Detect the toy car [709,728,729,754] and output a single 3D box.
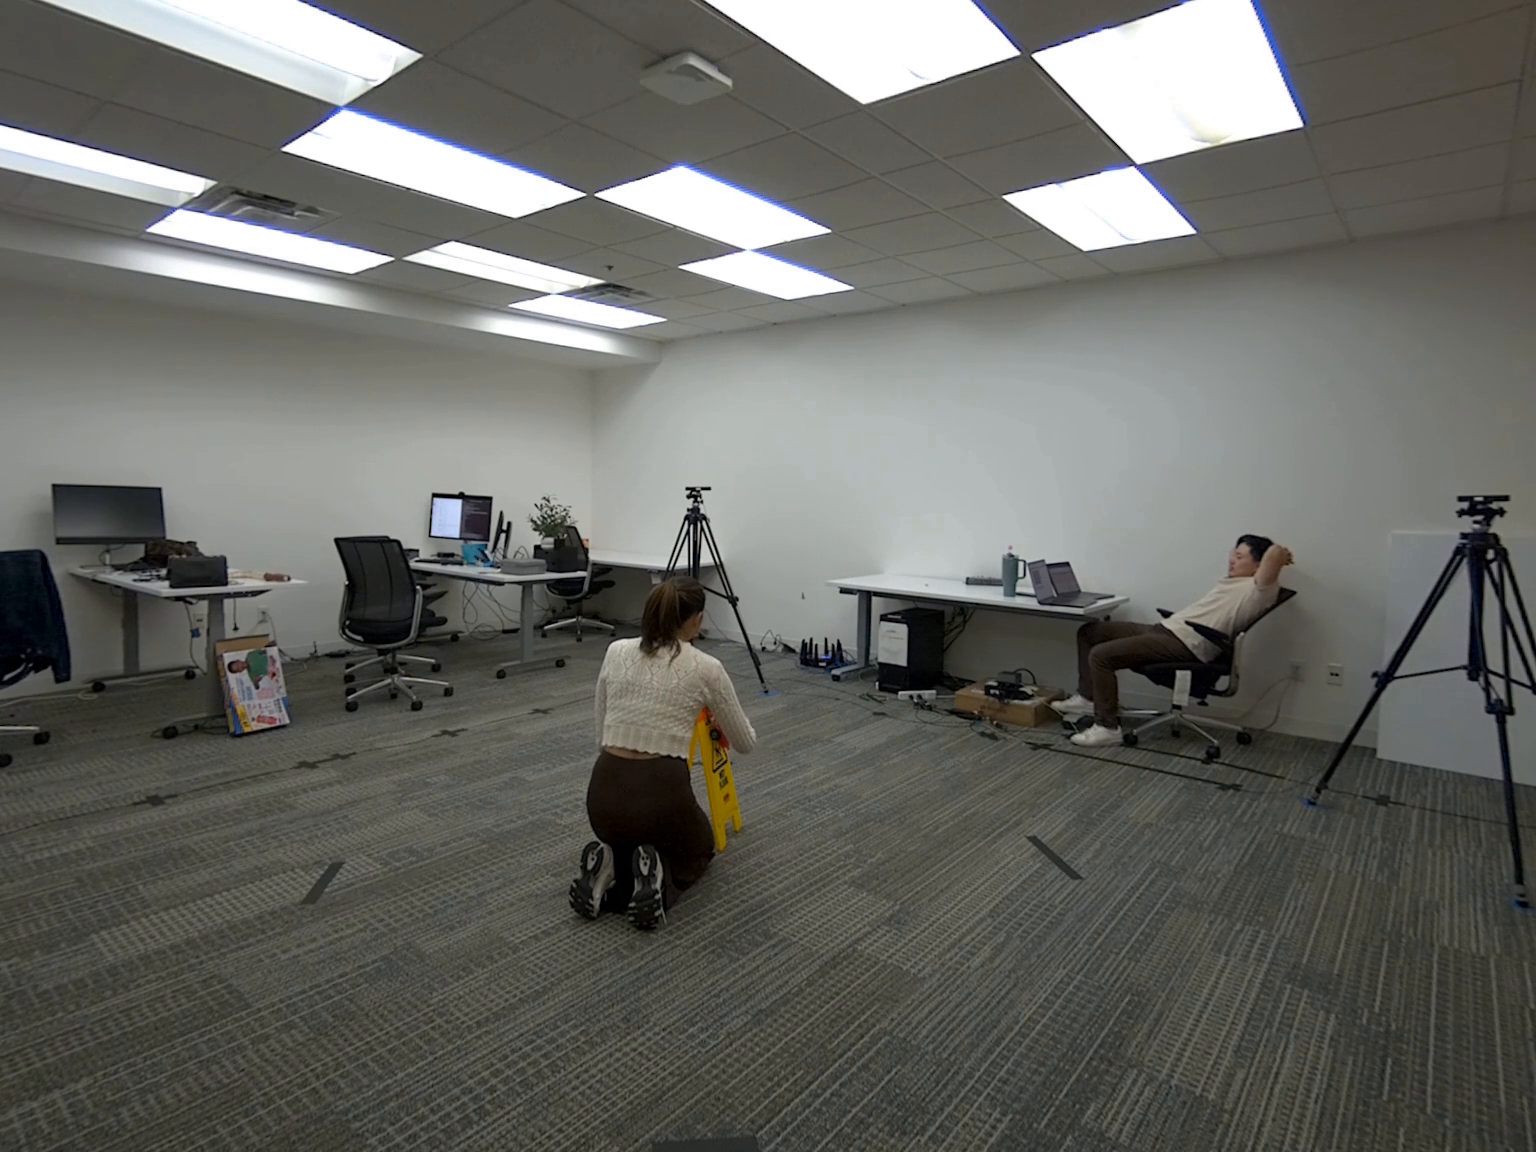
[{"bbox_3d":[-0.214,0.569,3.360,0.084,0.255,0.129,-21,0,17],"label":"toy car"}]
